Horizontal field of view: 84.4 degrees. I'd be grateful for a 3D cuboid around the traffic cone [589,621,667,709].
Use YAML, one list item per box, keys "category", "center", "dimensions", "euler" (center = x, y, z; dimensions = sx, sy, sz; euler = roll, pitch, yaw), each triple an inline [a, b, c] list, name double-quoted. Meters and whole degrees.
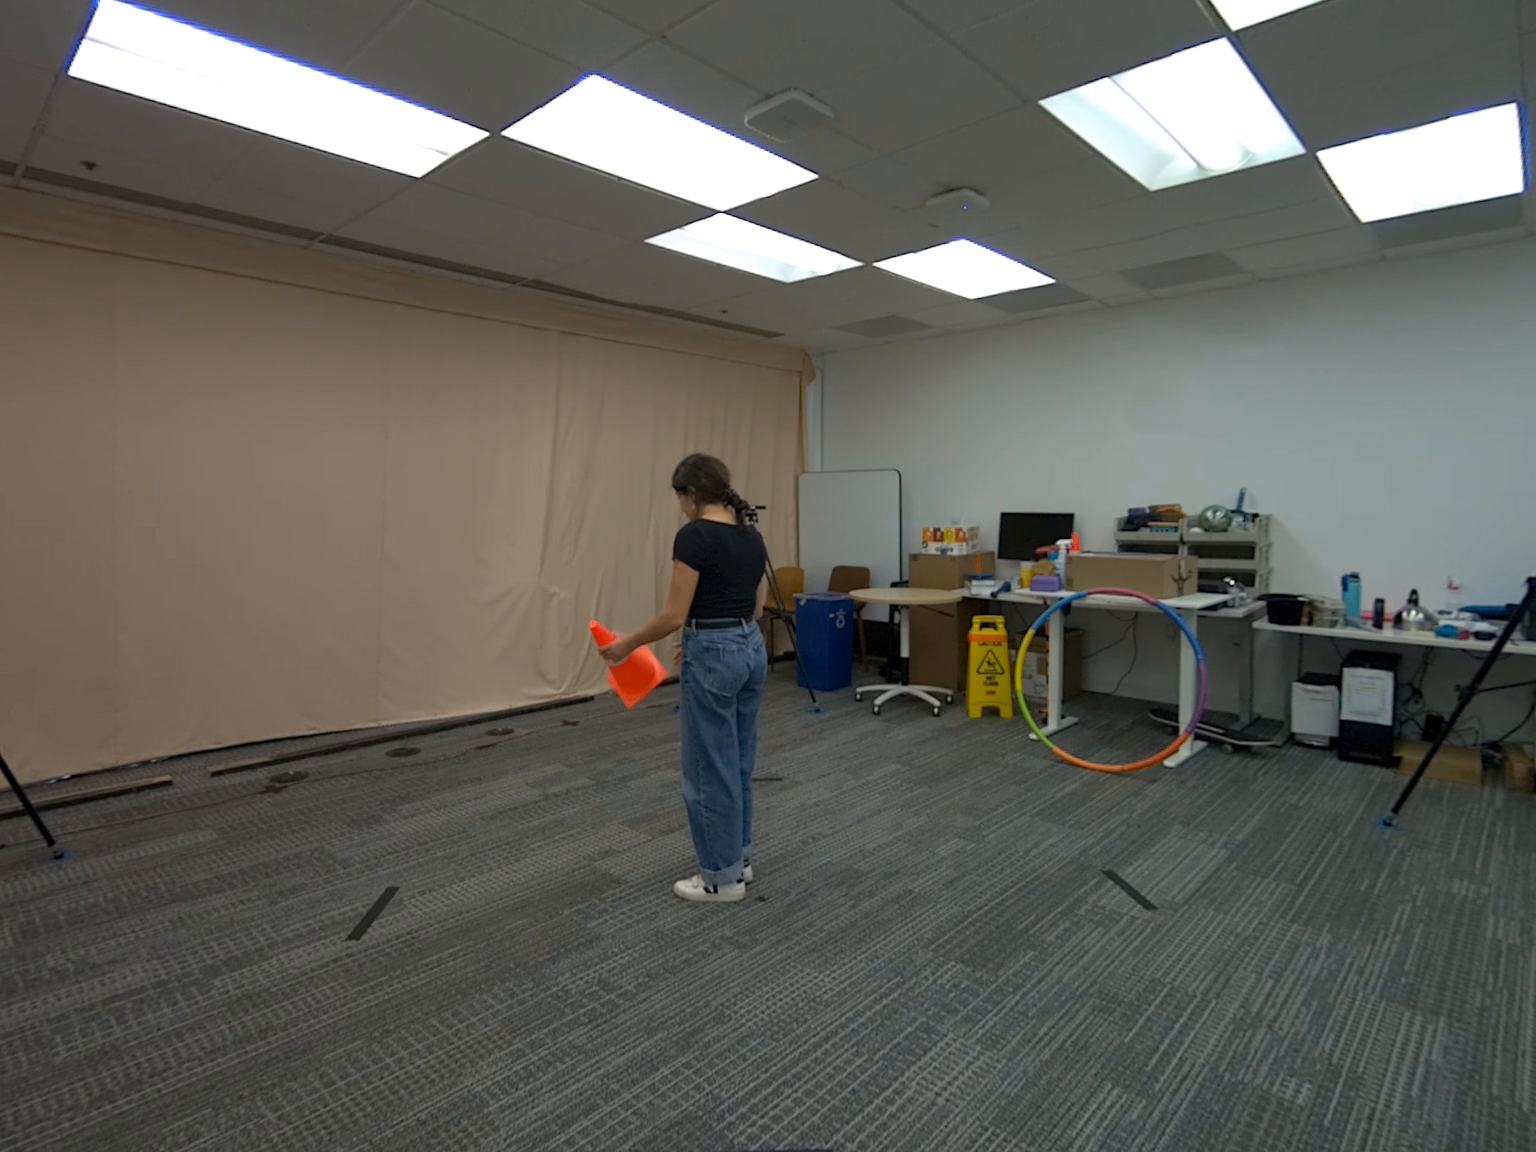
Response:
- category: "traffic cone"
  center: [-0.554, 0.281, 3.086]
  dimensions: [0.211, 0.204, 0.371]
  euler: [42, -11, 43]
